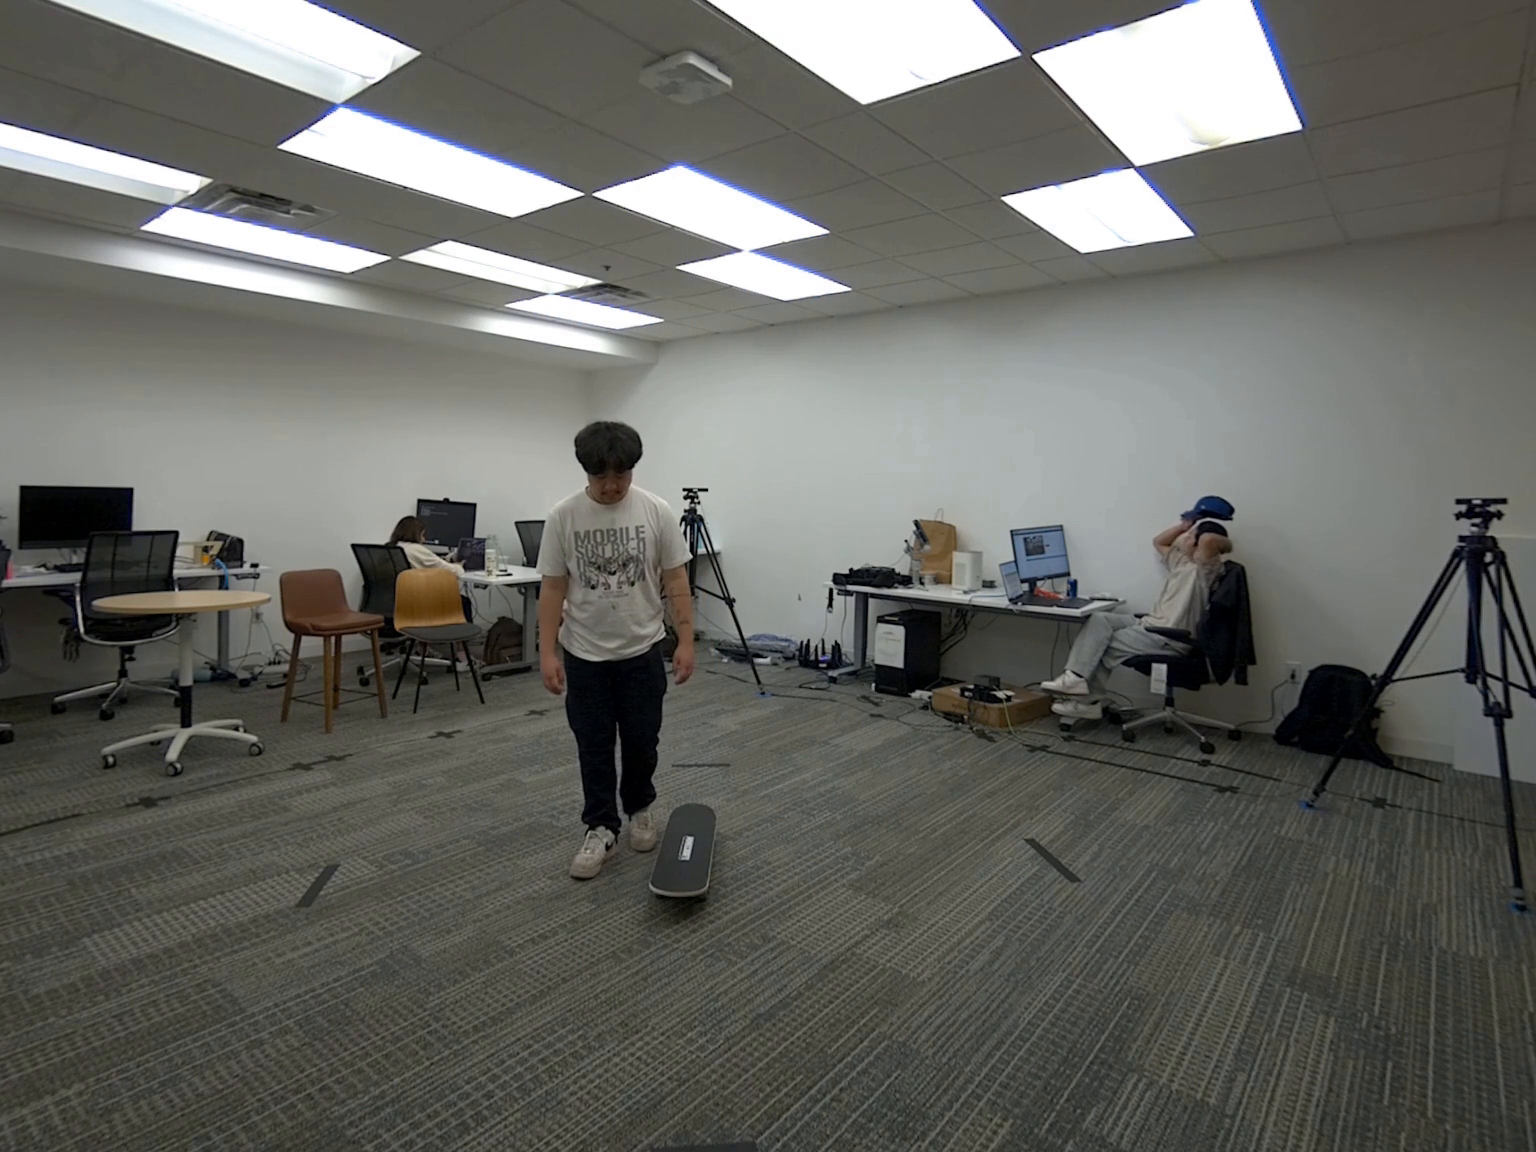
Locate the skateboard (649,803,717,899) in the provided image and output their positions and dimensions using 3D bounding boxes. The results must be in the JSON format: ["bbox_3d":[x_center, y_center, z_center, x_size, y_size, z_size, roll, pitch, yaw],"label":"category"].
[{"bbox_3d":[-0.306,1.012,3.082,0.194,0.110,0.787,1,5,0],"label":"skateboard"}]
